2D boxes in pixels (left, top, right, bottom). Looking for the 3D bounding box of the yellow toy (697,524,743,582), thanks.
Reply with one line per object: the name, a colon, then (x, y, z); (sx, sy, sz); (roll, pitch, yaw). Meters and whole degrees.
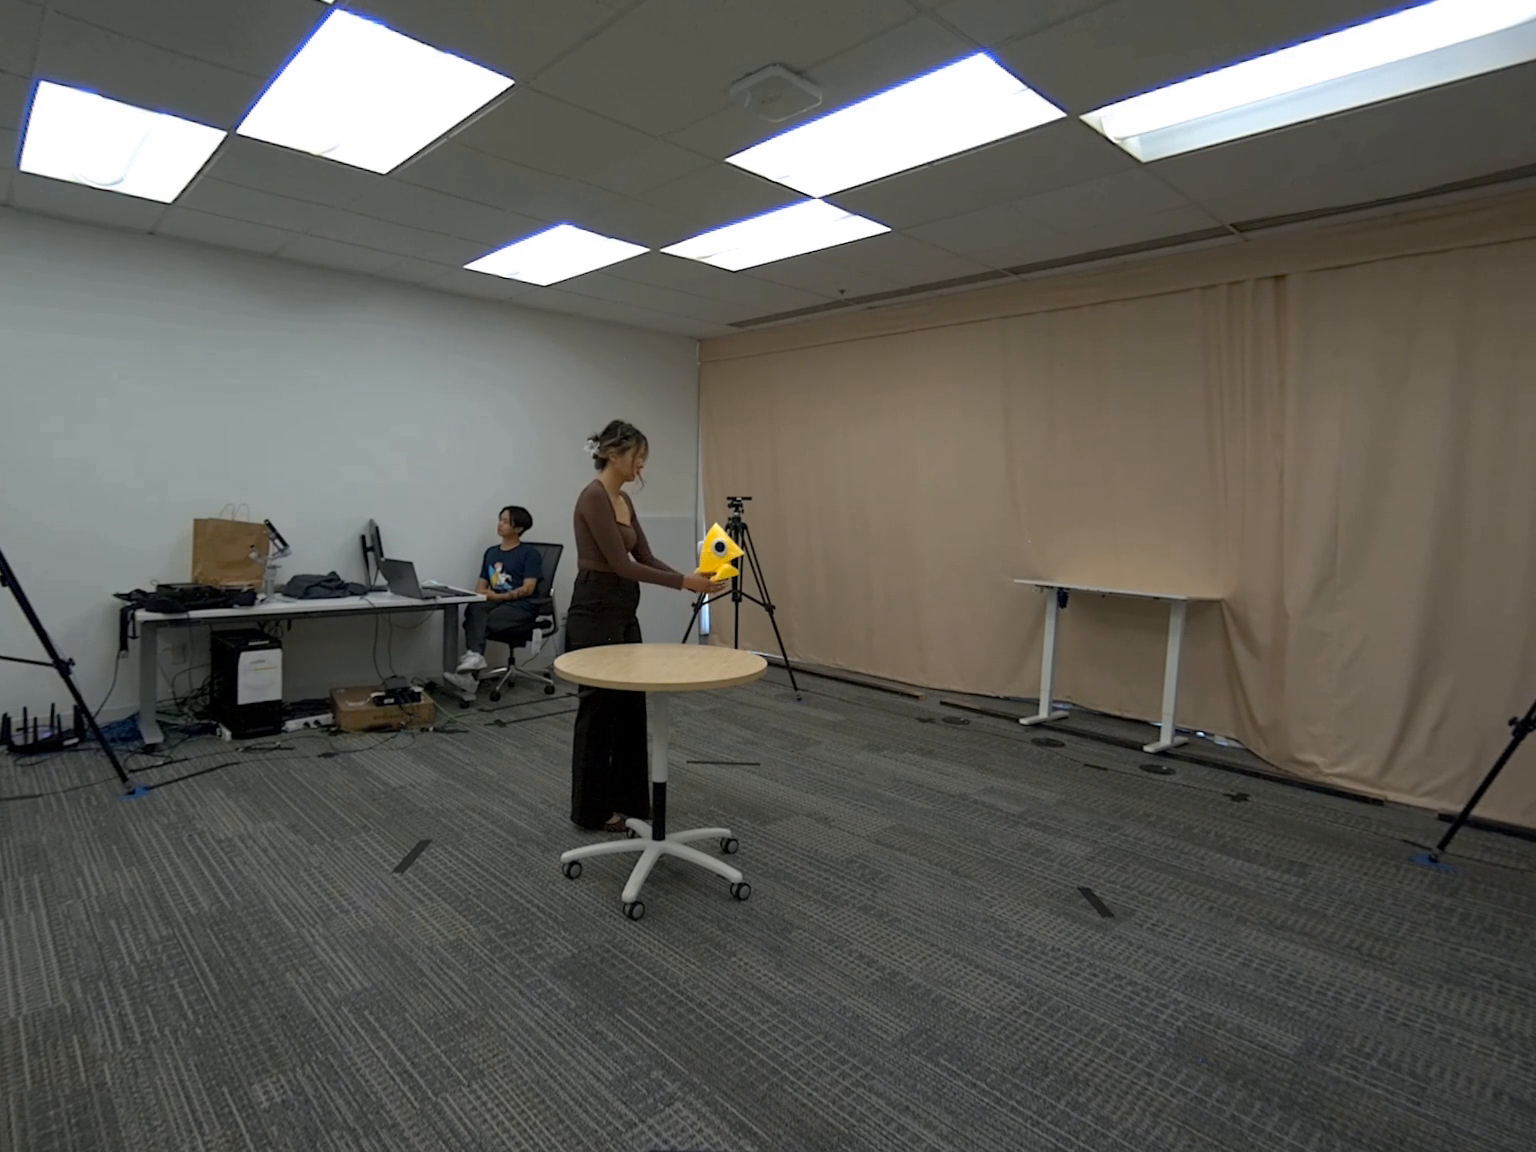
yellow toy: (-0.252, -0.106, 3.587); (0.209, 0.229, 0.190); (-6, 8, 41)
